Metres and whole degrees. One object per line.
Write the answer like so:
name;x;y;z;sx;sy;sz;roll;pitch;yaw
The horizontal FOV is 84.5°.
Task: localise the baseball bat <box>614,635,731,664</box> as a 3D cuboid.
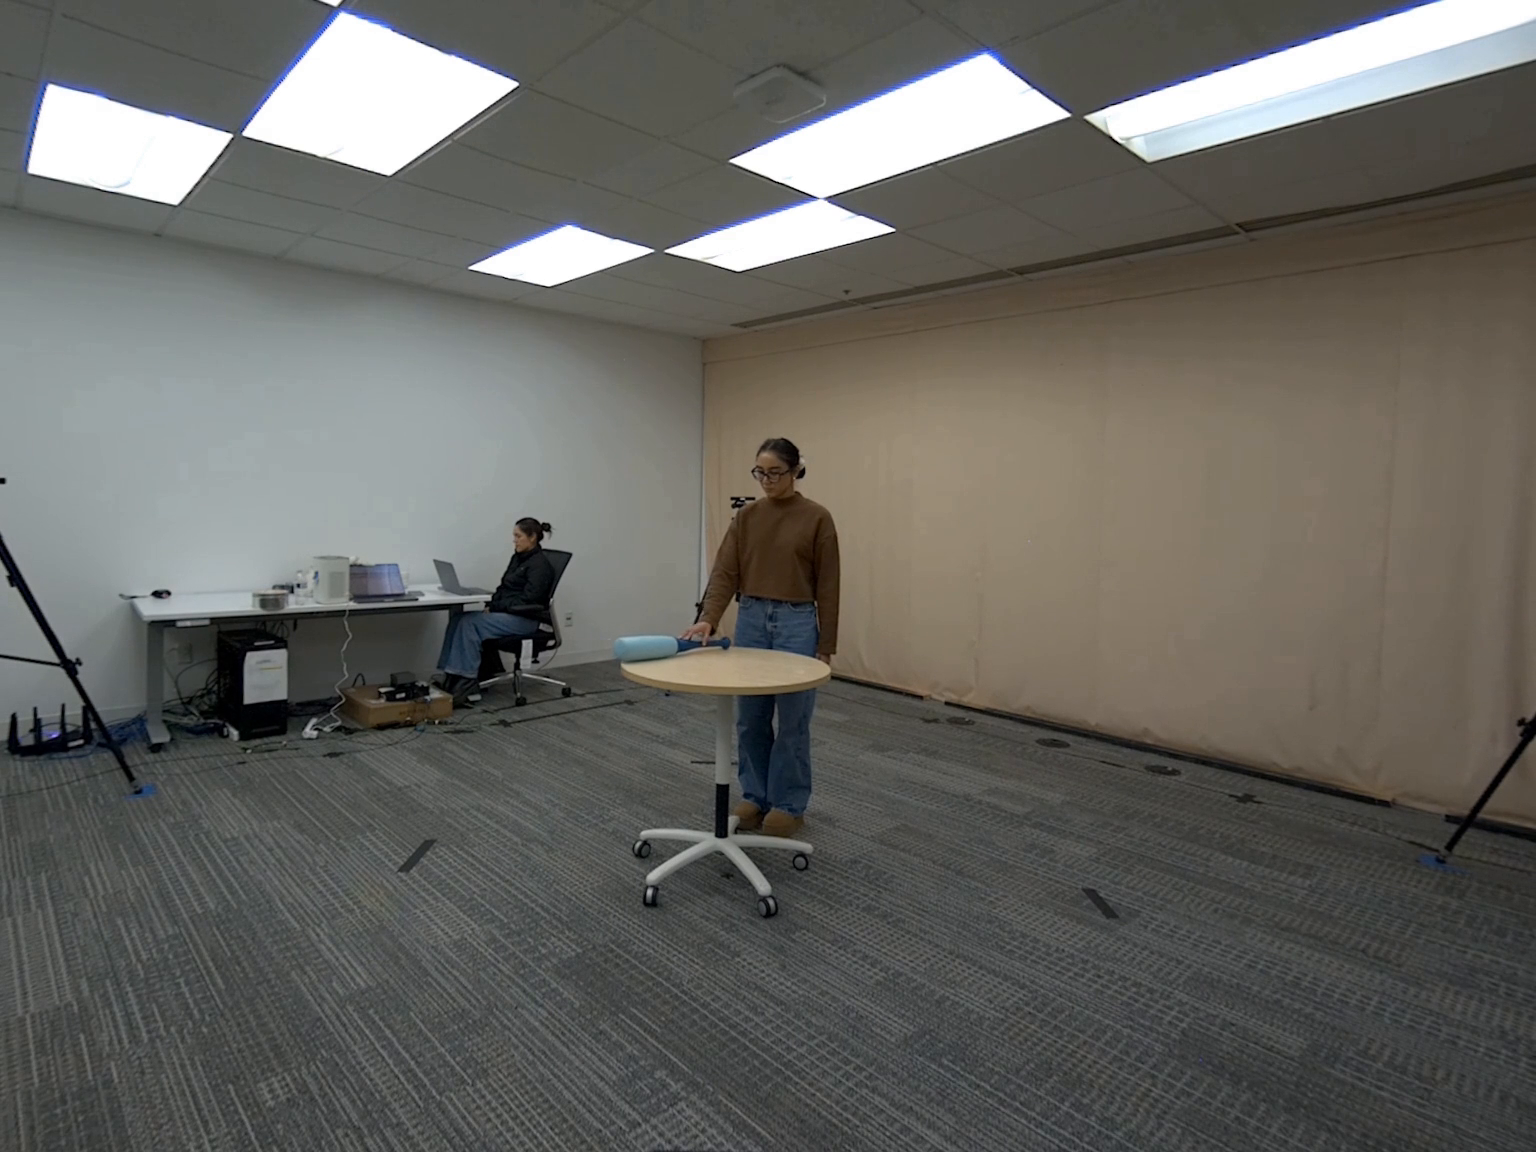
baseball bat;-0.359;0.271;3.229;0.091;0.089;0.530;6;3;44
